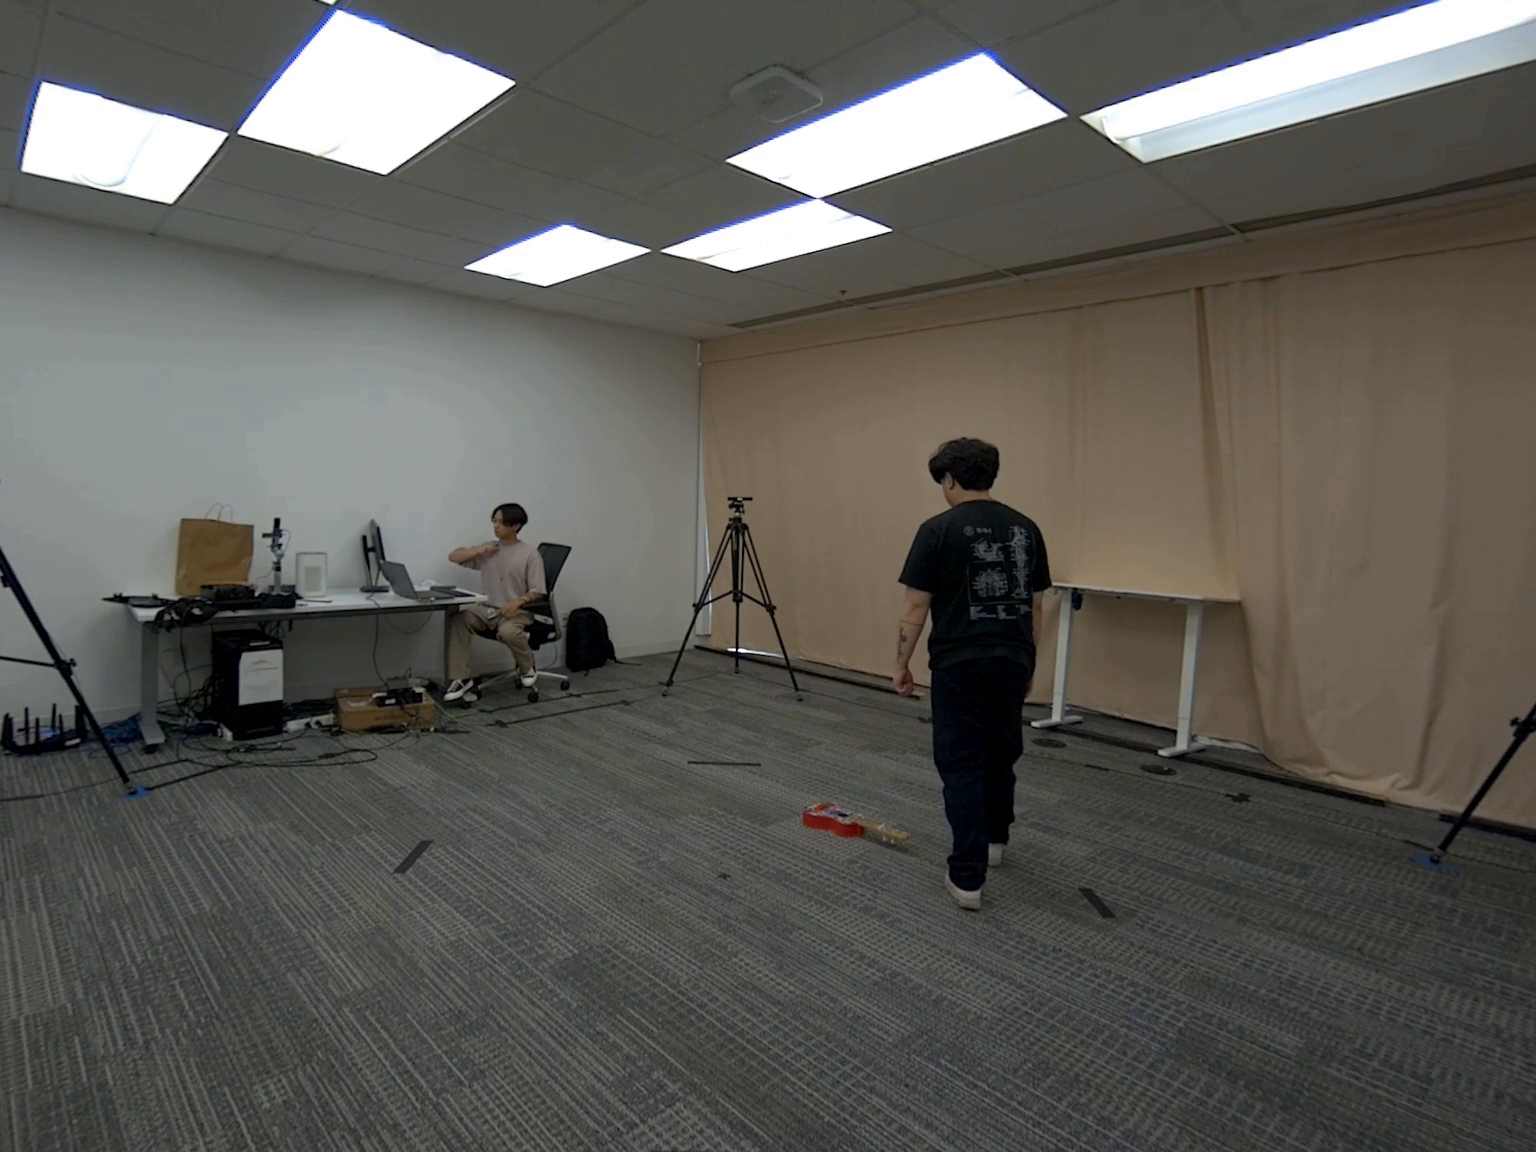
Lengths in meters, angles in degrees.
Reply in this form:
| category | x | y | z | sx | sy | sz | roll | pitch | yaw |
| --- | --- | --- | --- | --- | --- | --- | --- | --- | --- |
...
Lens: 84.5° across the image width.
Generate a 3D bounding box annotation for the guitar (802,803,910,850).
| category | x | y | z | sx | sy | sz | roll | pitch | yaw |
| --- | --- | --- | --- | --- | --- | --- | --- | --- | --- |
| guitar | 0.342 | 1.050 | 3.520 | 0.189 | 0.070 | 0.510 | -1 | 5 | -37 |
